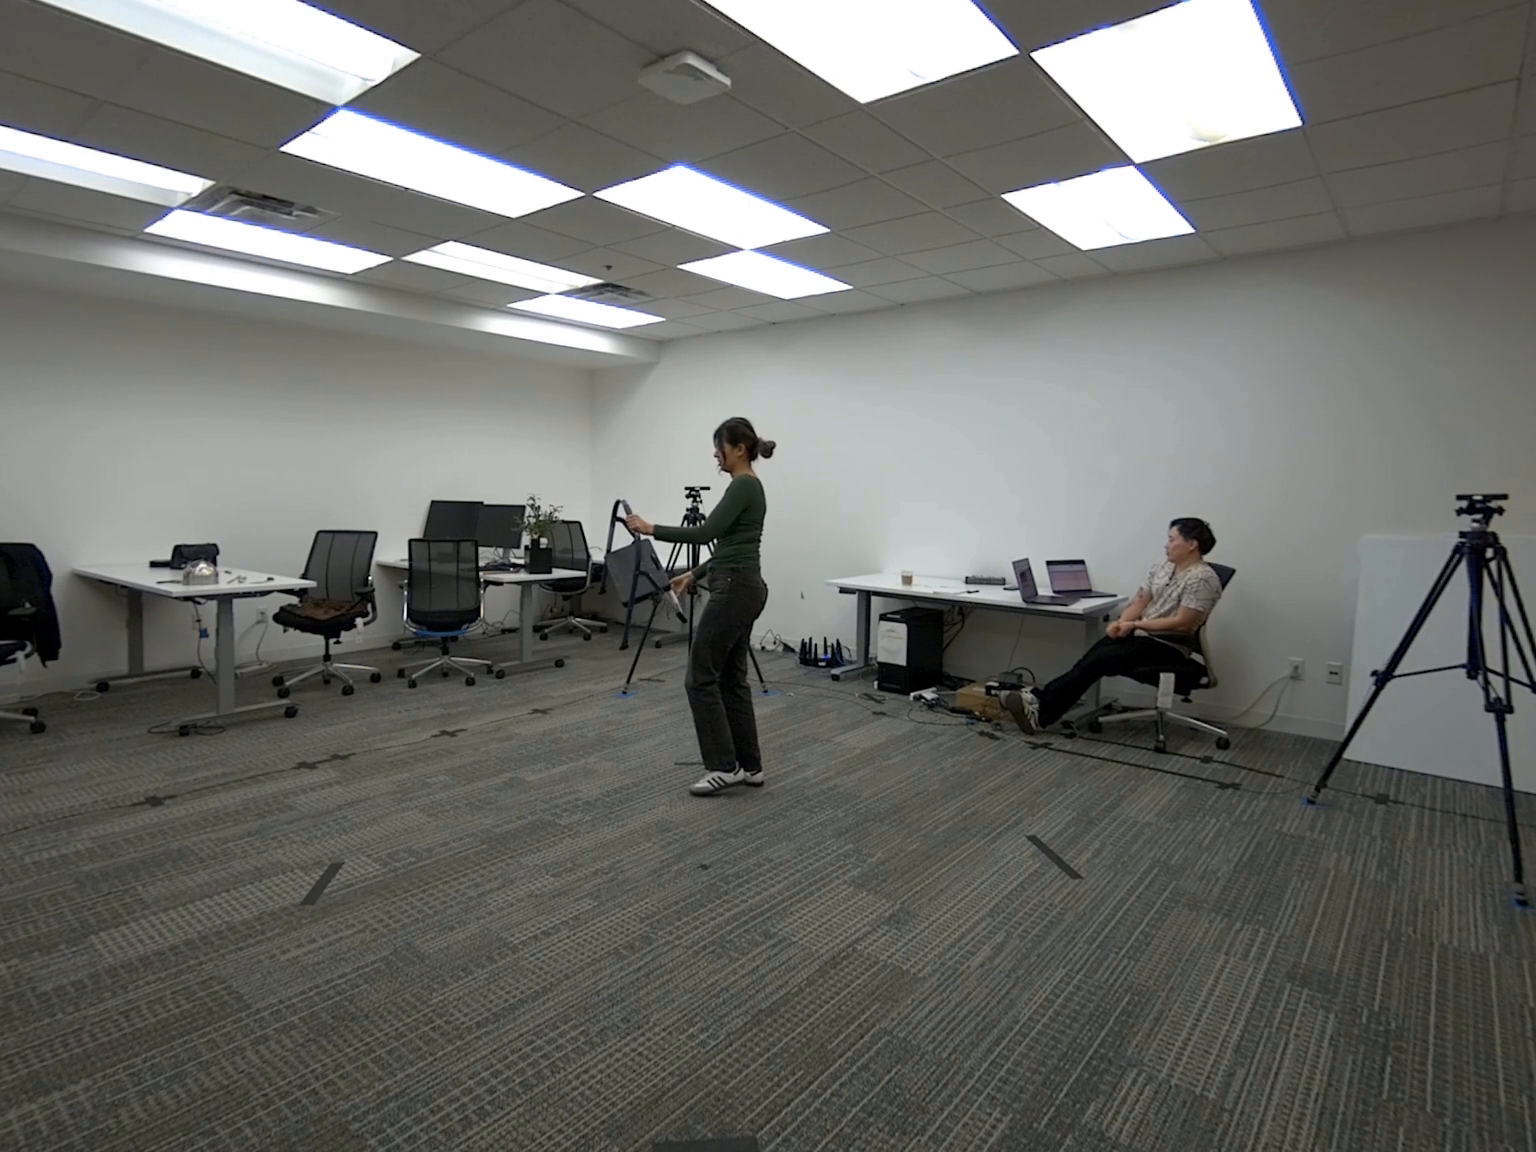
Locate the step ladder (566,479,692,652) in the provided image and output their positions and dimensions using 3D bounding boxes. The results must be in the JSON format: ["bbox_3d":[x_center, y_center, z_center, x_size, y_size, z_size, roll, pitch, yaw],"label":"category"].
[{"bbox_3d":[-0.656,-0.050,3.992,0.347,0.585,0.449,-22,47,-12],"label":"step ladder"}]
